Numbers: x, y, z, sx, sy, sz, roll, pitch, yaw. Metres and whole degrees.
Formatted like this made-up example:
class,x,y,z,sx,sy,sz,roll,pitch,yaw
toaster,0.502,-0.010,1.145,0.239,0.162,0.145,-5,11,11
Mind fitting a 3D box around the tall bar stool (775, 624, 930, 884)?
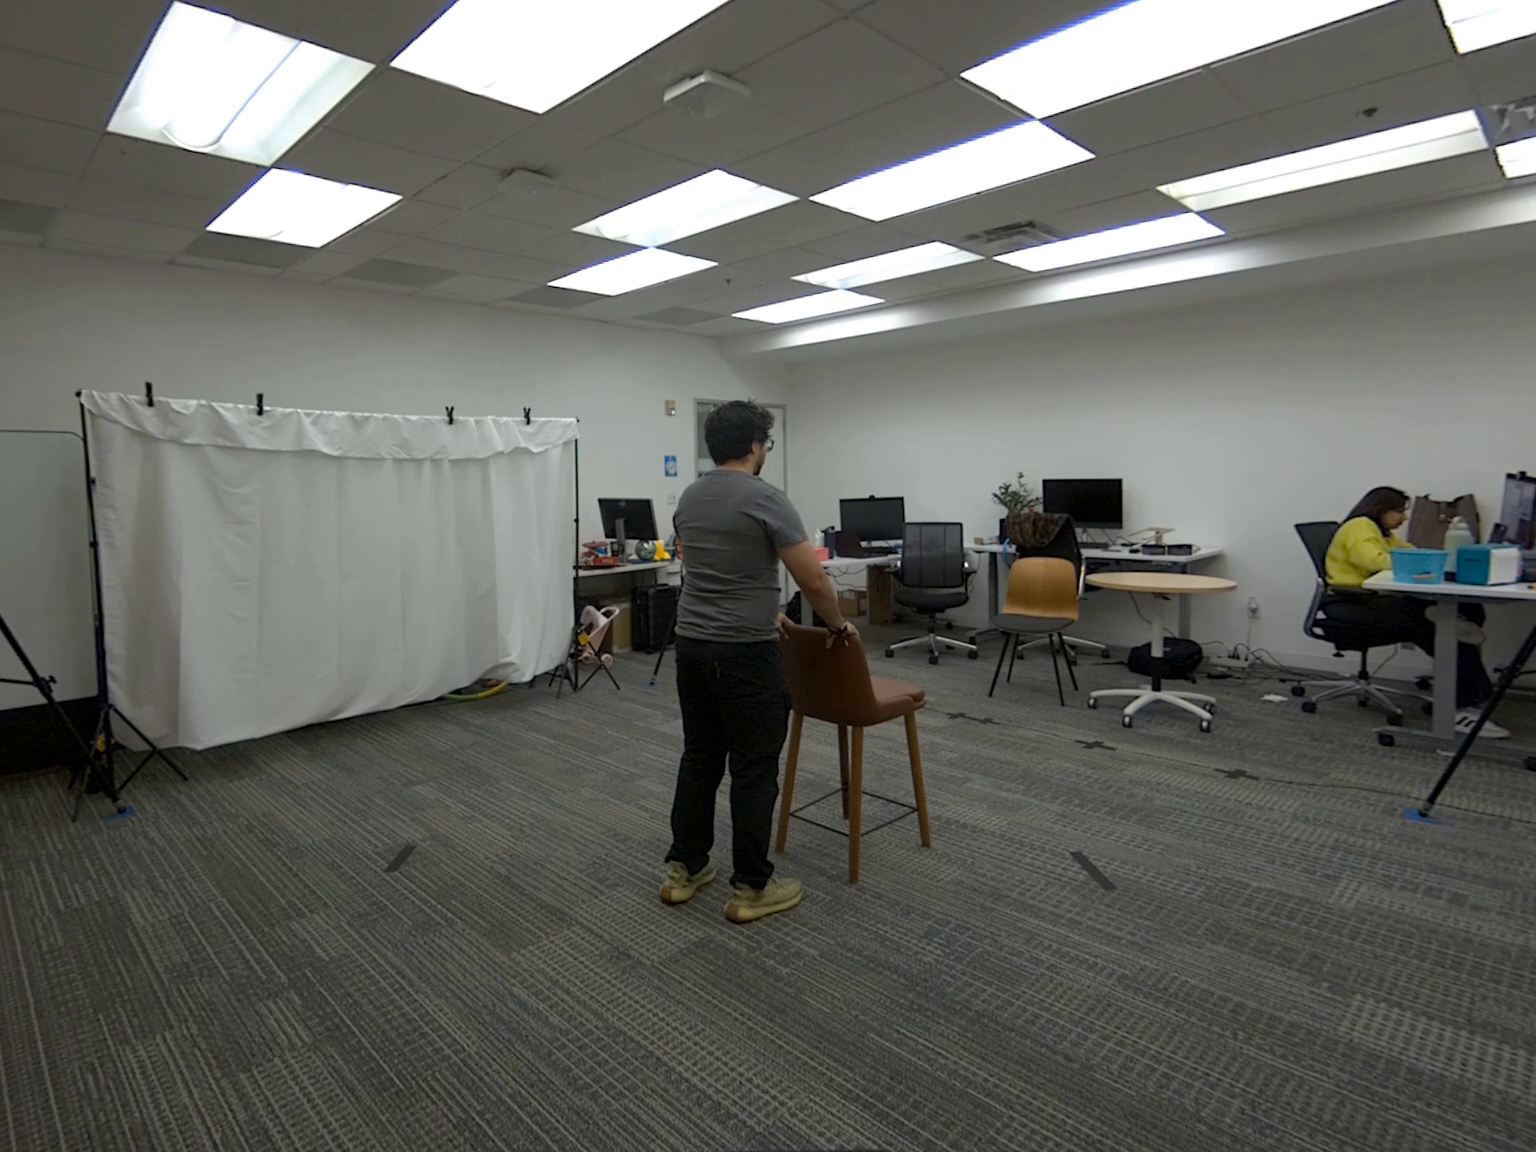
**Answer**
class,x,y,z,sx,sy,sz,roll,pitch,yaw
tall bar stool,0.302,0.590,3.186,0.456,0.885,0.470,-7,7,-44
